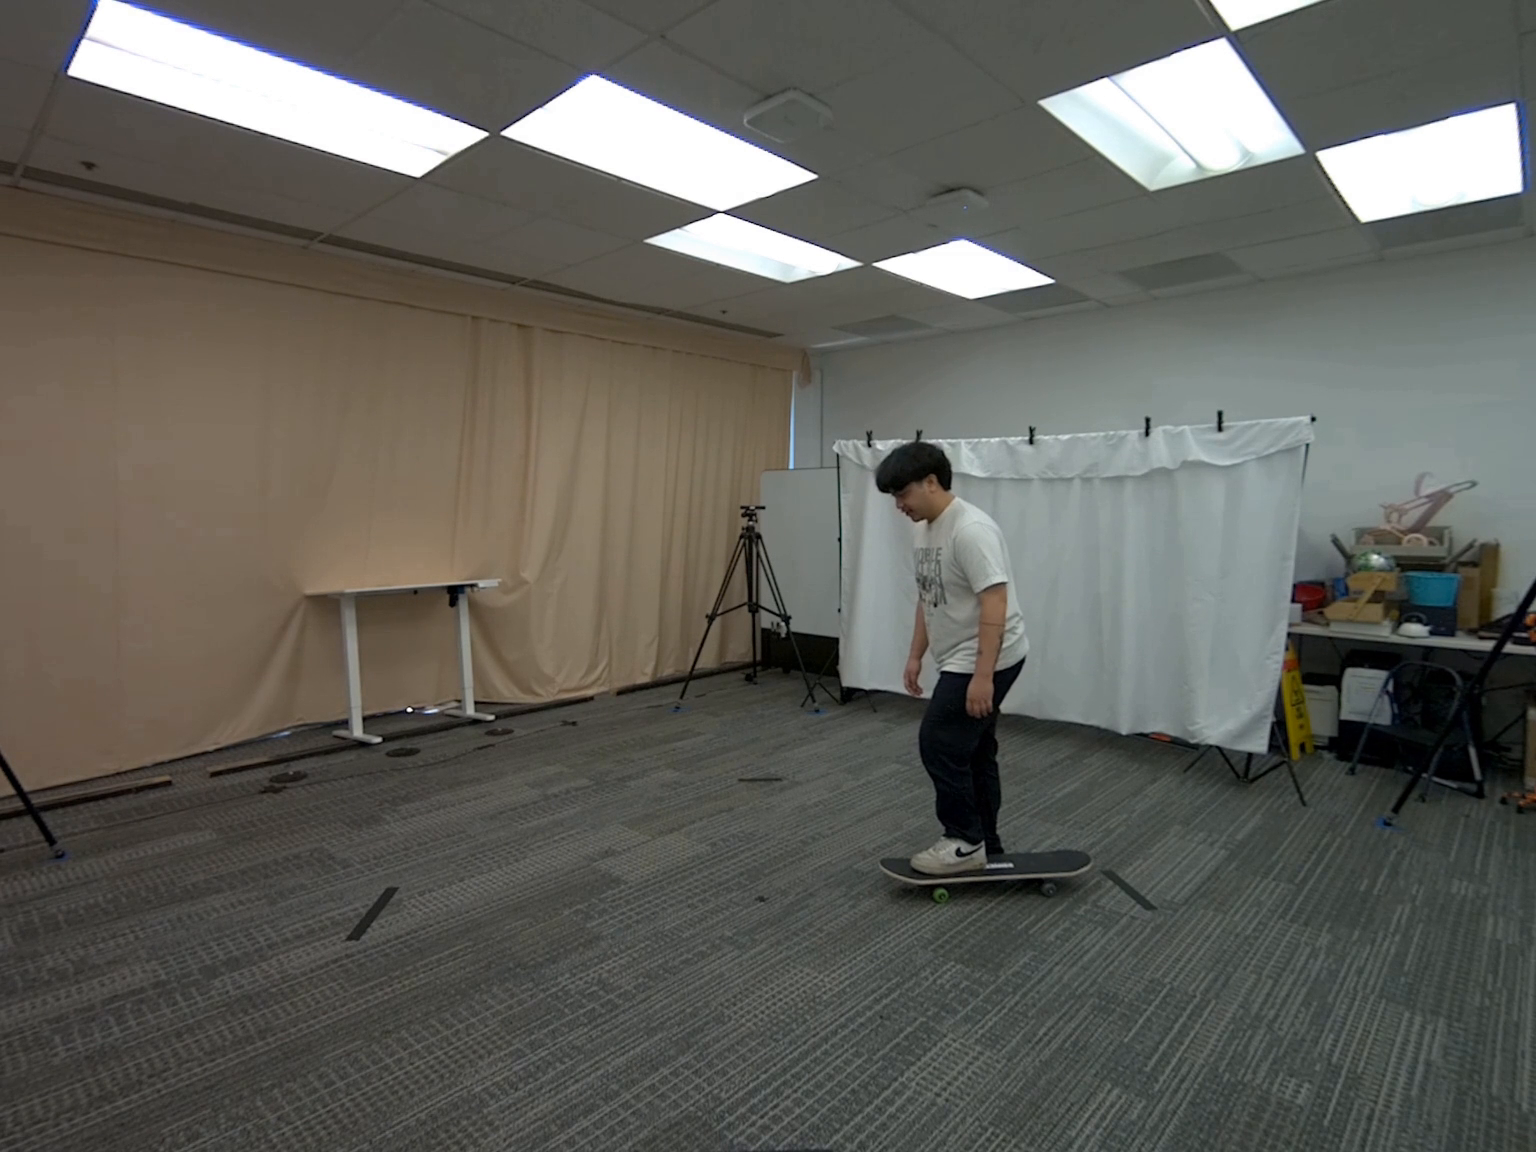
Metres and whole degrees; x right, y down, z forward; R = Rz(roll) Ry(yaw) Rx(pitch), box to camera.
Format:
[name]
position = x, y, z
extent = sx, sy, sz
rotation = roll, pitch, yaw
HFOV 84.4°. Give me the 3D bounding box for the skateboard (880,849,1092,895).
[skateboard]
position = 0.791, 1.079, 3.052
extent = 0.780, 0.110, 0.195
rotation = -1, 3, -7
